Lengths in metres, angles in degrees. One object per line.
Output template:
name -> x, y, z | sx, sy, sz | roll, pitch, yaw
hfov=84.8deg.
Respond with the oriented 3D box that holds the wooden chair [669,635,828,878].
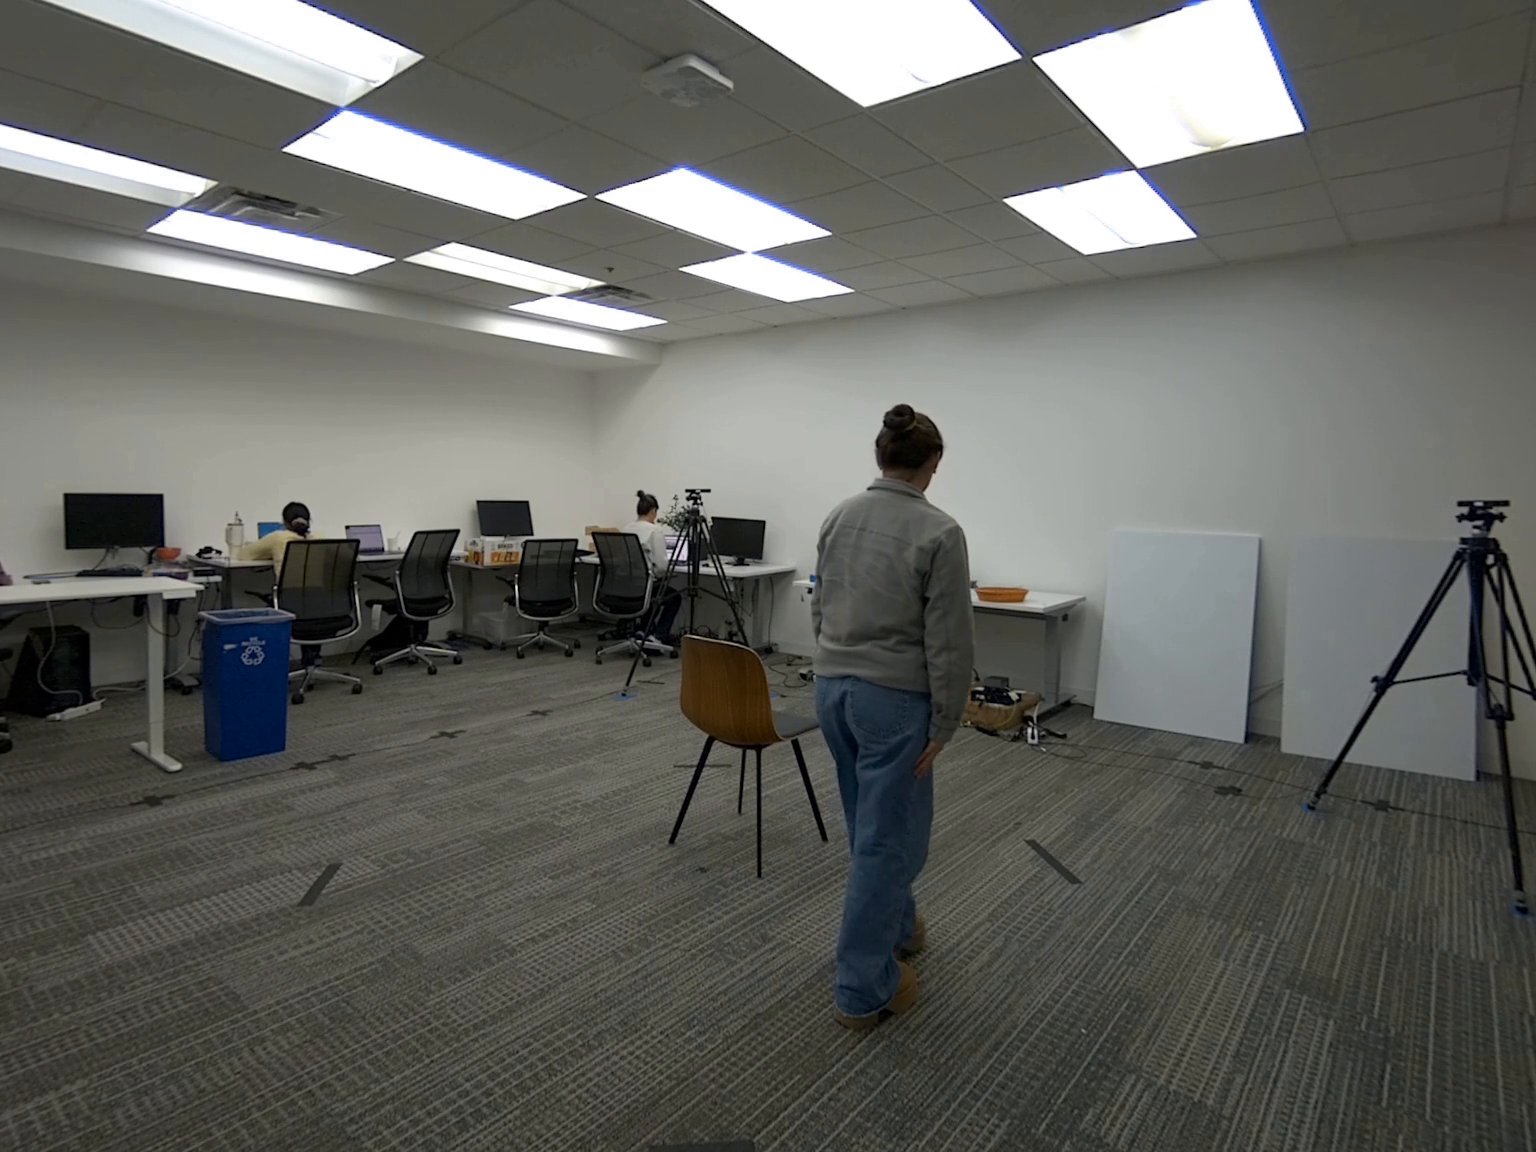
wooden chair -> -0.075, 0.626, 3.347 | 0.494, 0.872, 0.509 | 3, 8, 37
